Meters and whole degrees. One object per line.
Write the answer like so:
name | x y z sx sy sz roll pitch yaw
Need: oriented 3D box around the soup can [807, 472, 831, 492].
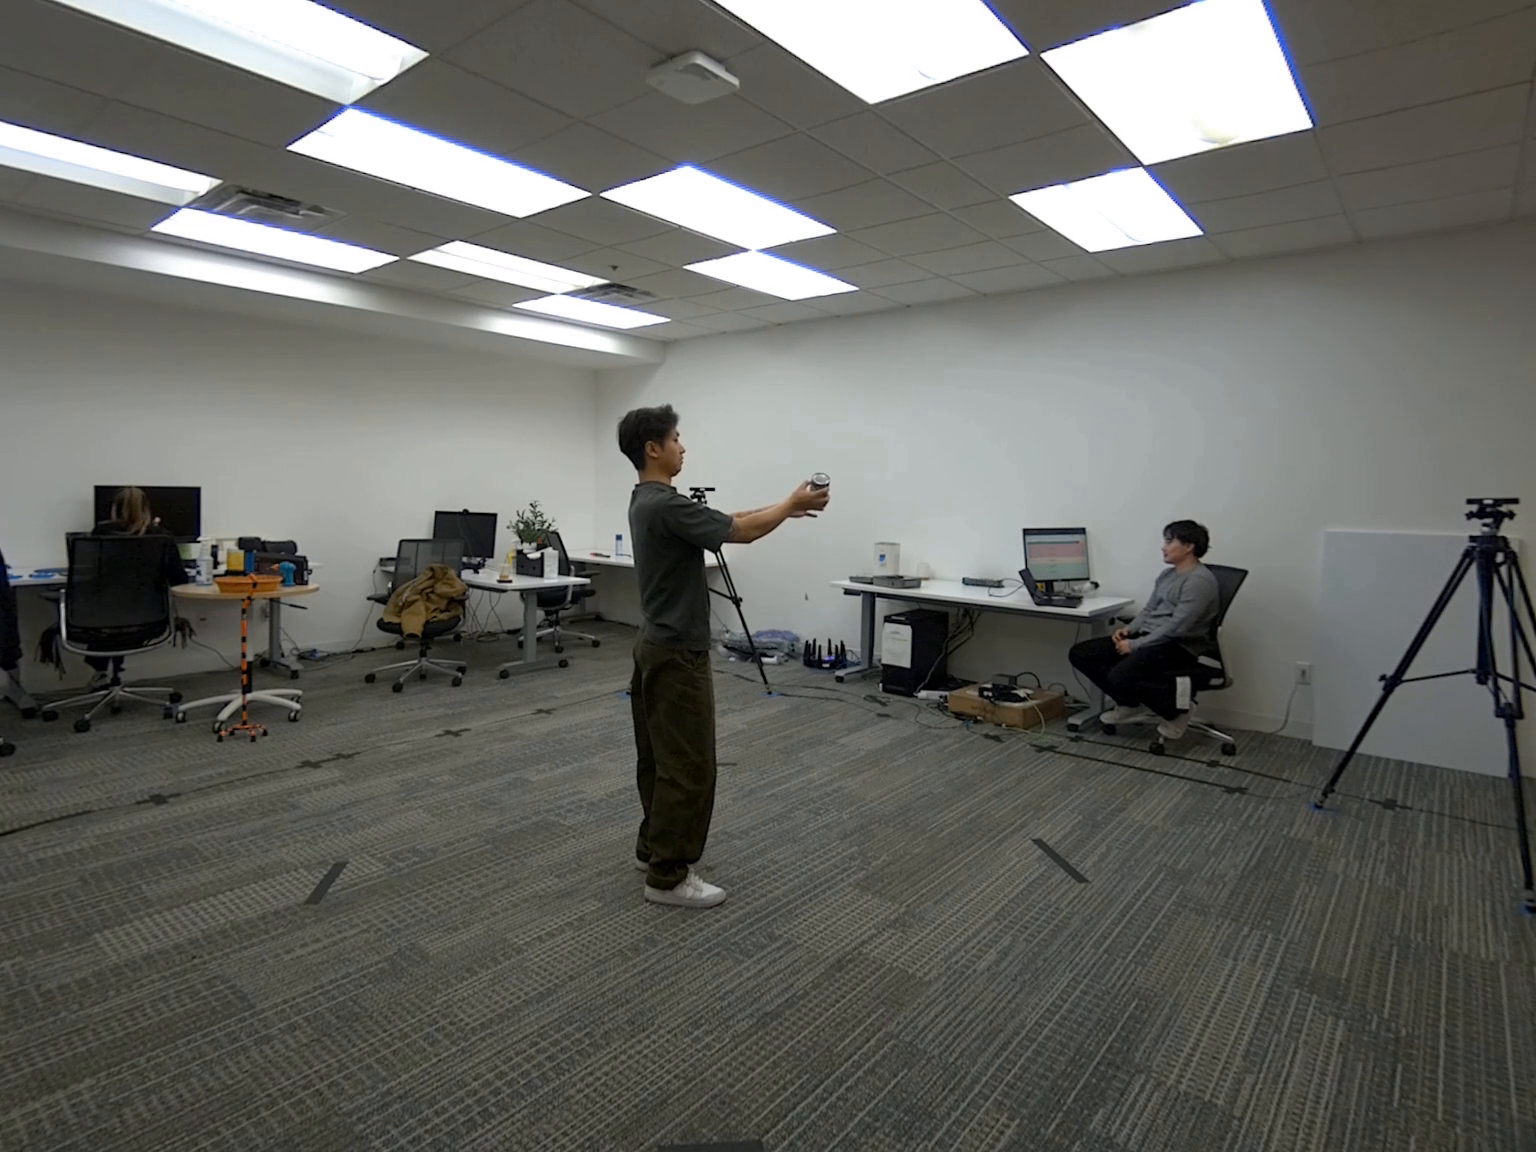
soup can | 0.172 -0.306 3.030 0.067 0.119 0.069 4 39 -5
